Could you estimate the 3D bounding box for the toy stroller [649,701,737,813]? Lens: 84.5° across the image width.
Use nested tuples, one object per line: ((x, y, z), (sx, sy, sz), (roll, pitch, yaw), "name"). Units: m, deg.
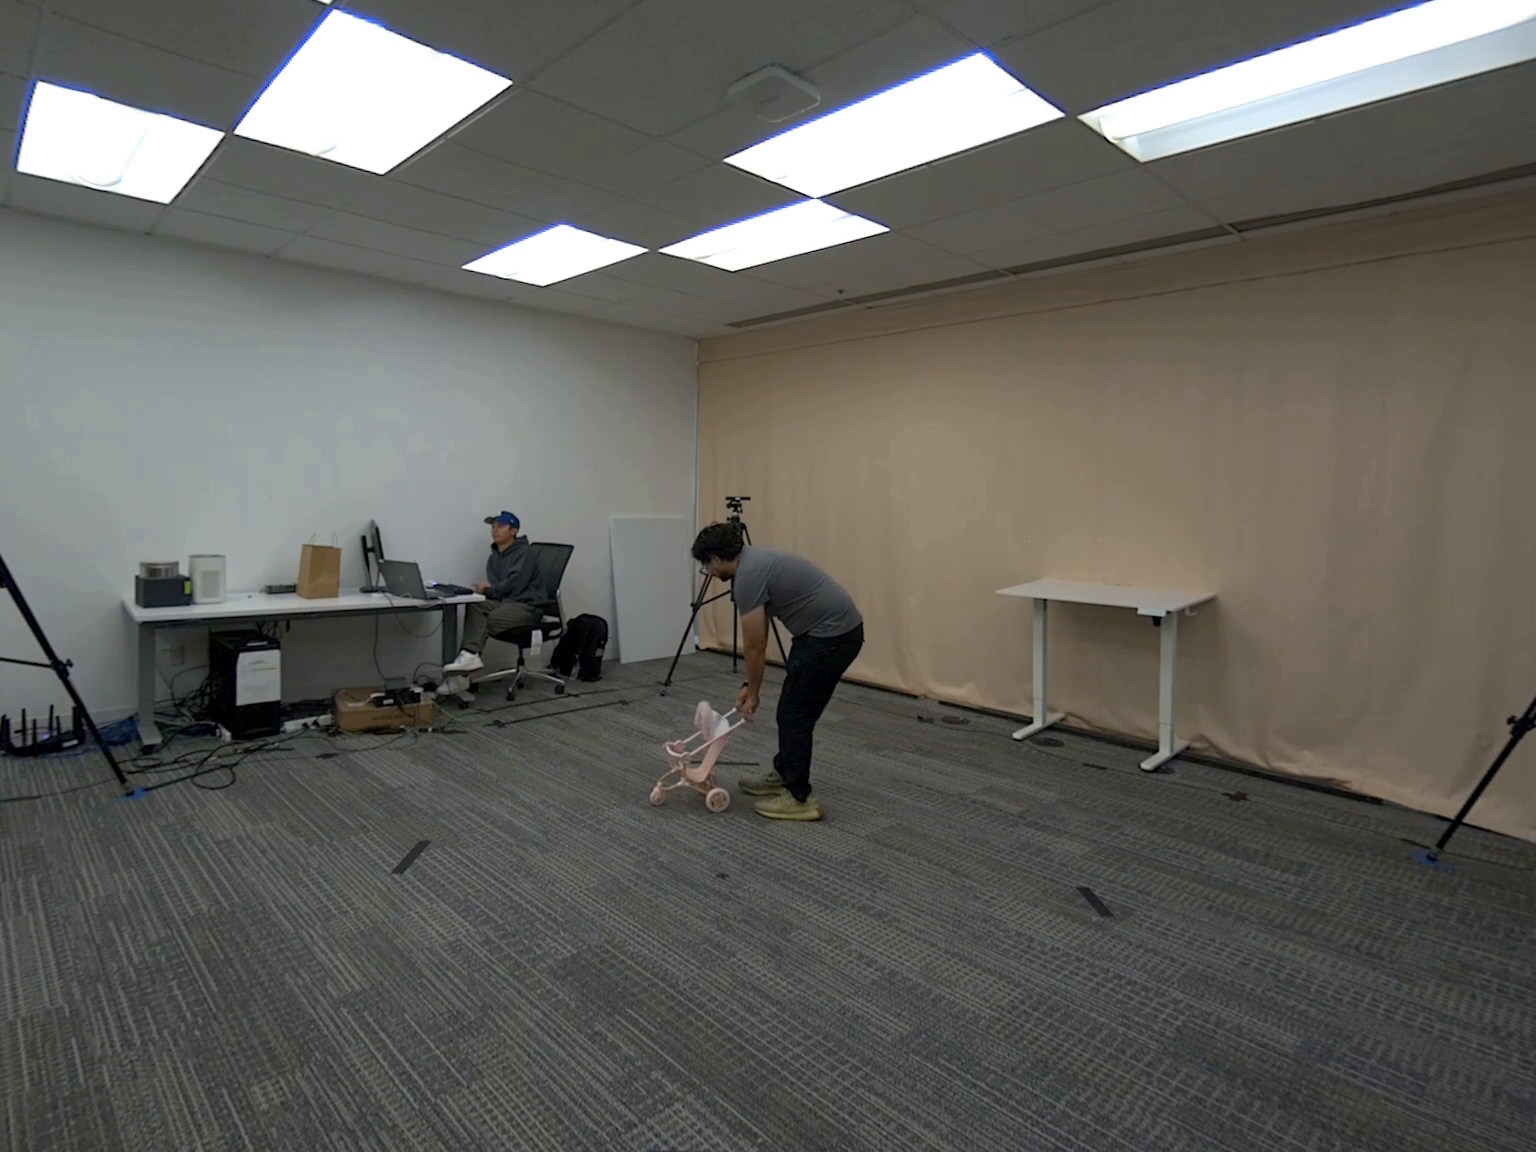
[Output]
((-0.319, 0.808, 3.832), (0.338, 0.535, 0.284), (17, 0, -10), "toy stroller")
